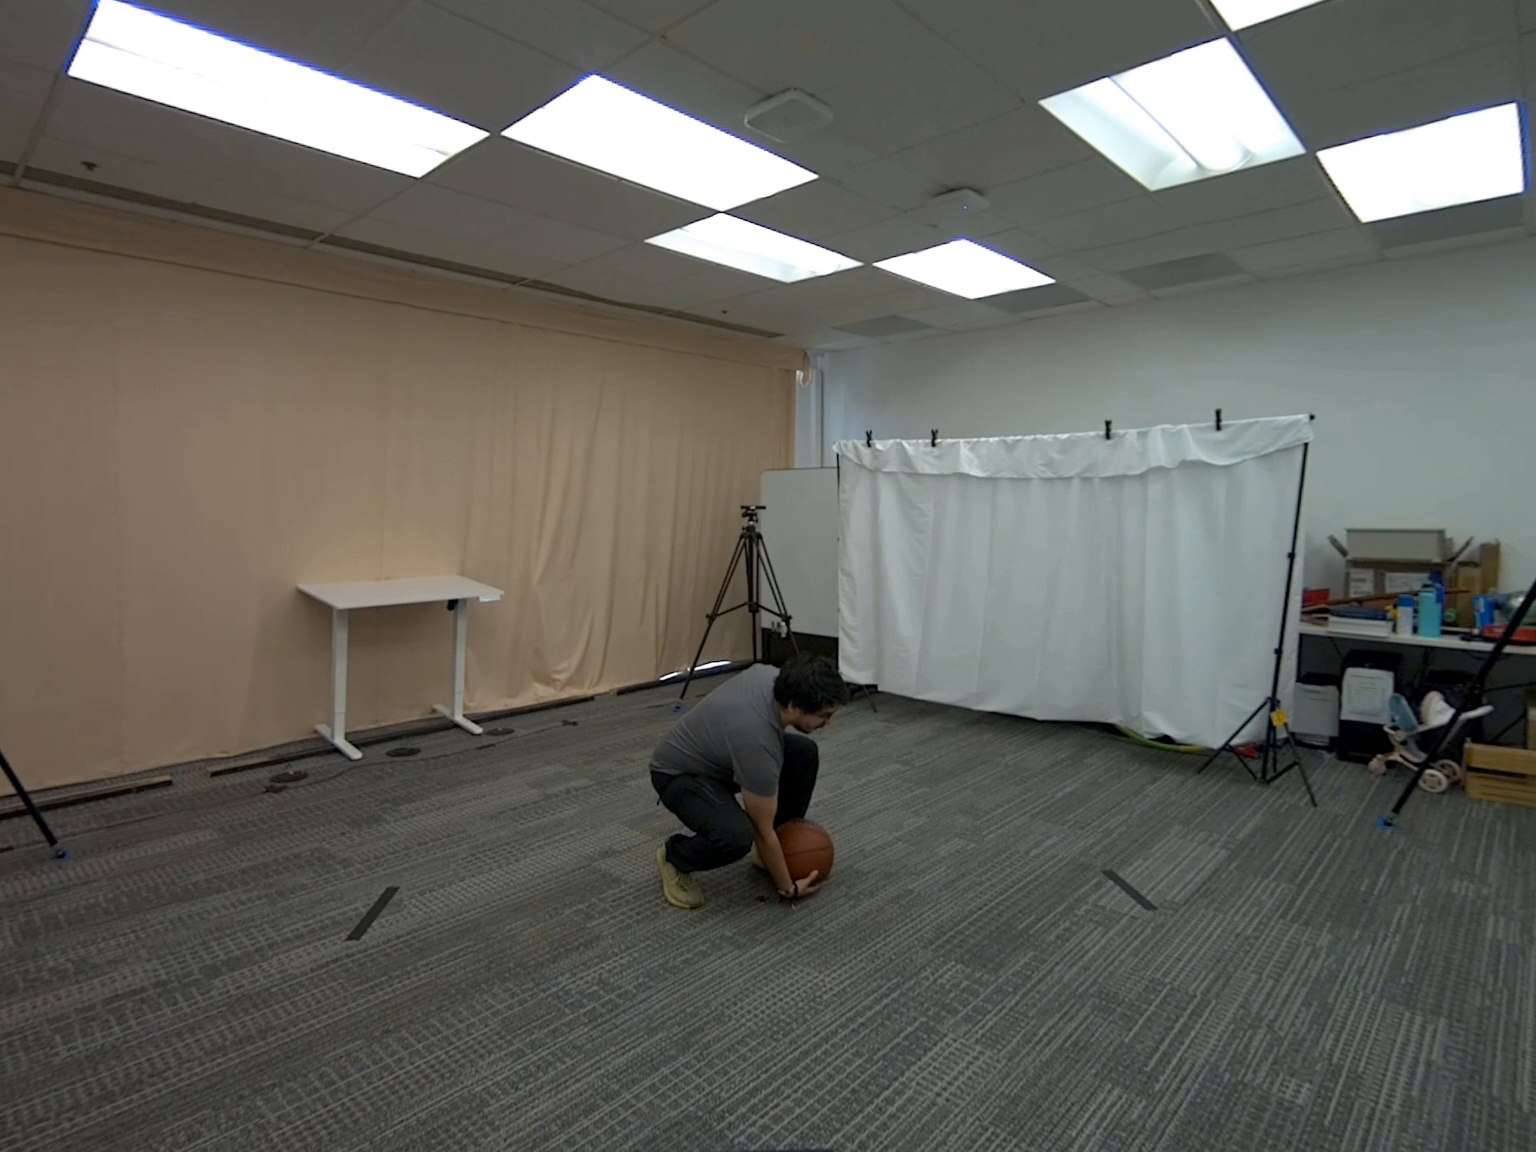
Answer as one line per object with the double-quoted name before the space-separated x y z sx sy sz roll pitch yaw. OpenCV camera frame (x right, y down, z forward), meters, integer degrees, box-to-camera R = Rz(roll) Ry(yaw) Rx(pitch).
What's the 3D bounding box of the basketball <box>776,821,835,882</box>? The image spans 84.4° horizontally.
"basketball" 0.122 1.008 3.053 0.236 0.235 0.237 0 4 -2
